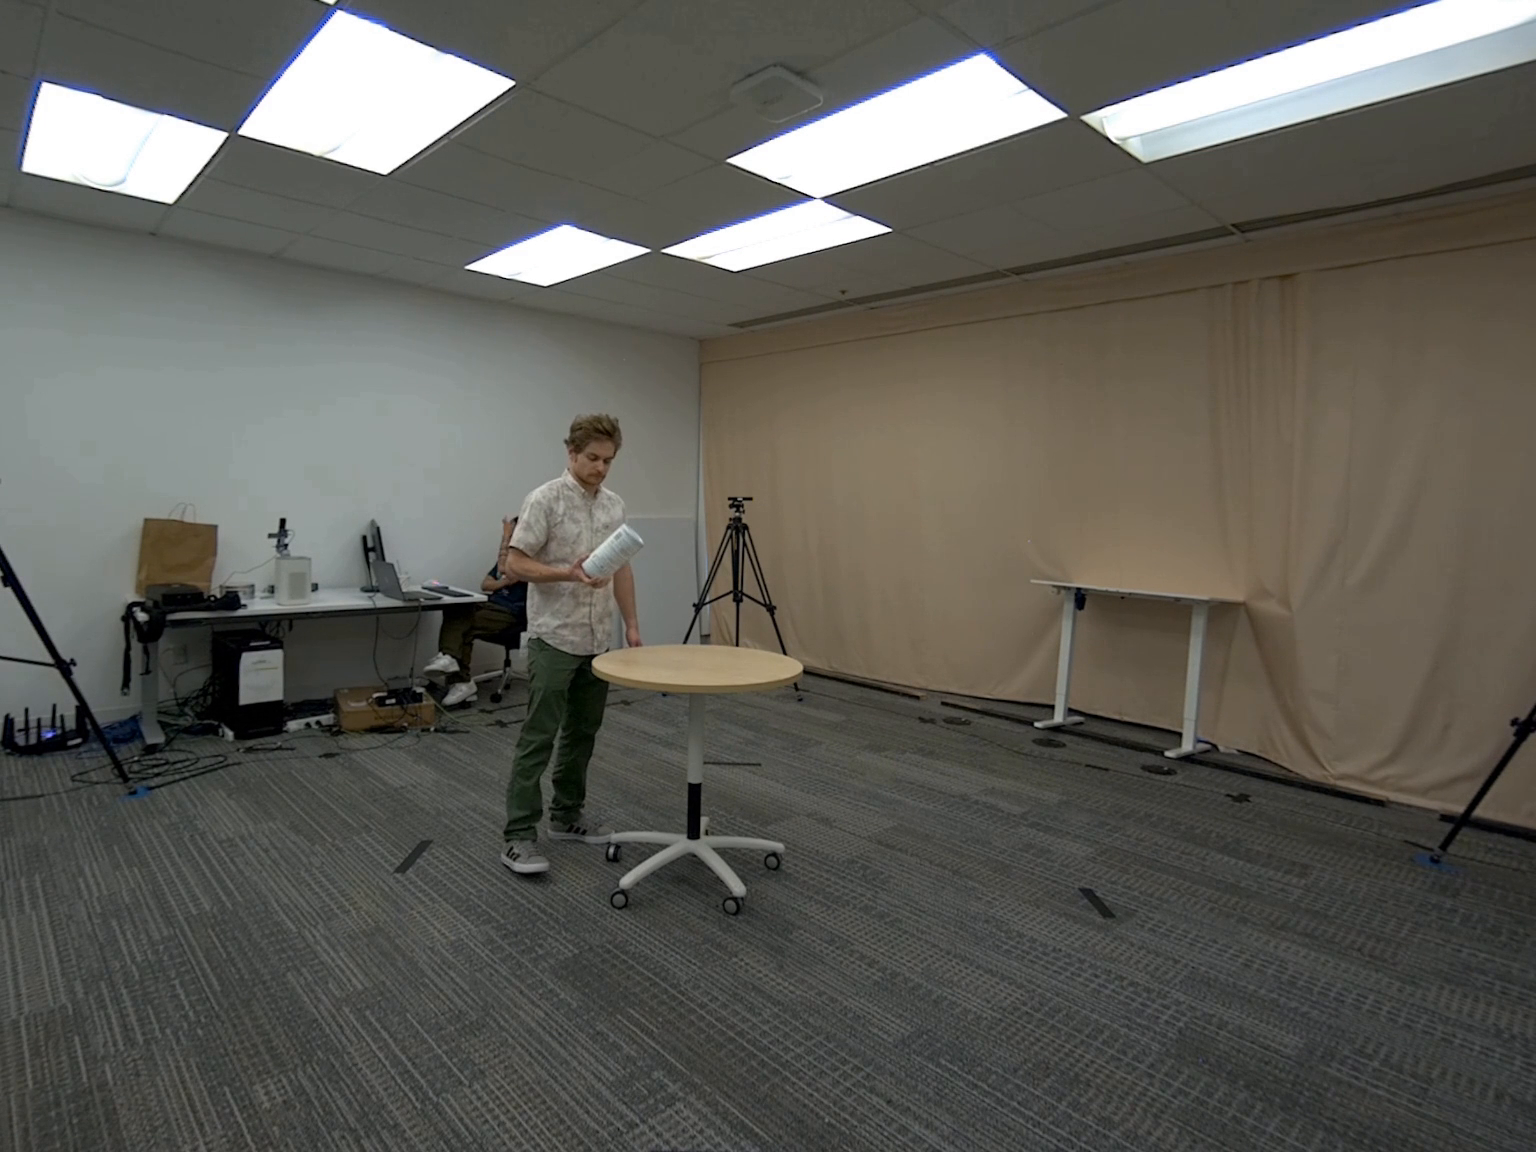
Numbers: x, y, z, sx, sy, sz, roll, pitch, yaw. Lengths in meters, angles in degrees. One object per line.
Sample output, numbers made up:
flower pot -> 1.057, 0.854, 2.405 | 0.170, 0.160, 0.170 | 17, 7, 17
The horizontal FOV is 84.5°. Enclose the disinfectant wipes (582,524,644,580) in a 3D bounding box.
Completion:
disinfectant wipes -> -0.564, -0.077, 3.014 | 0.117, 0.217, 0.118 | 45, 3, -5
